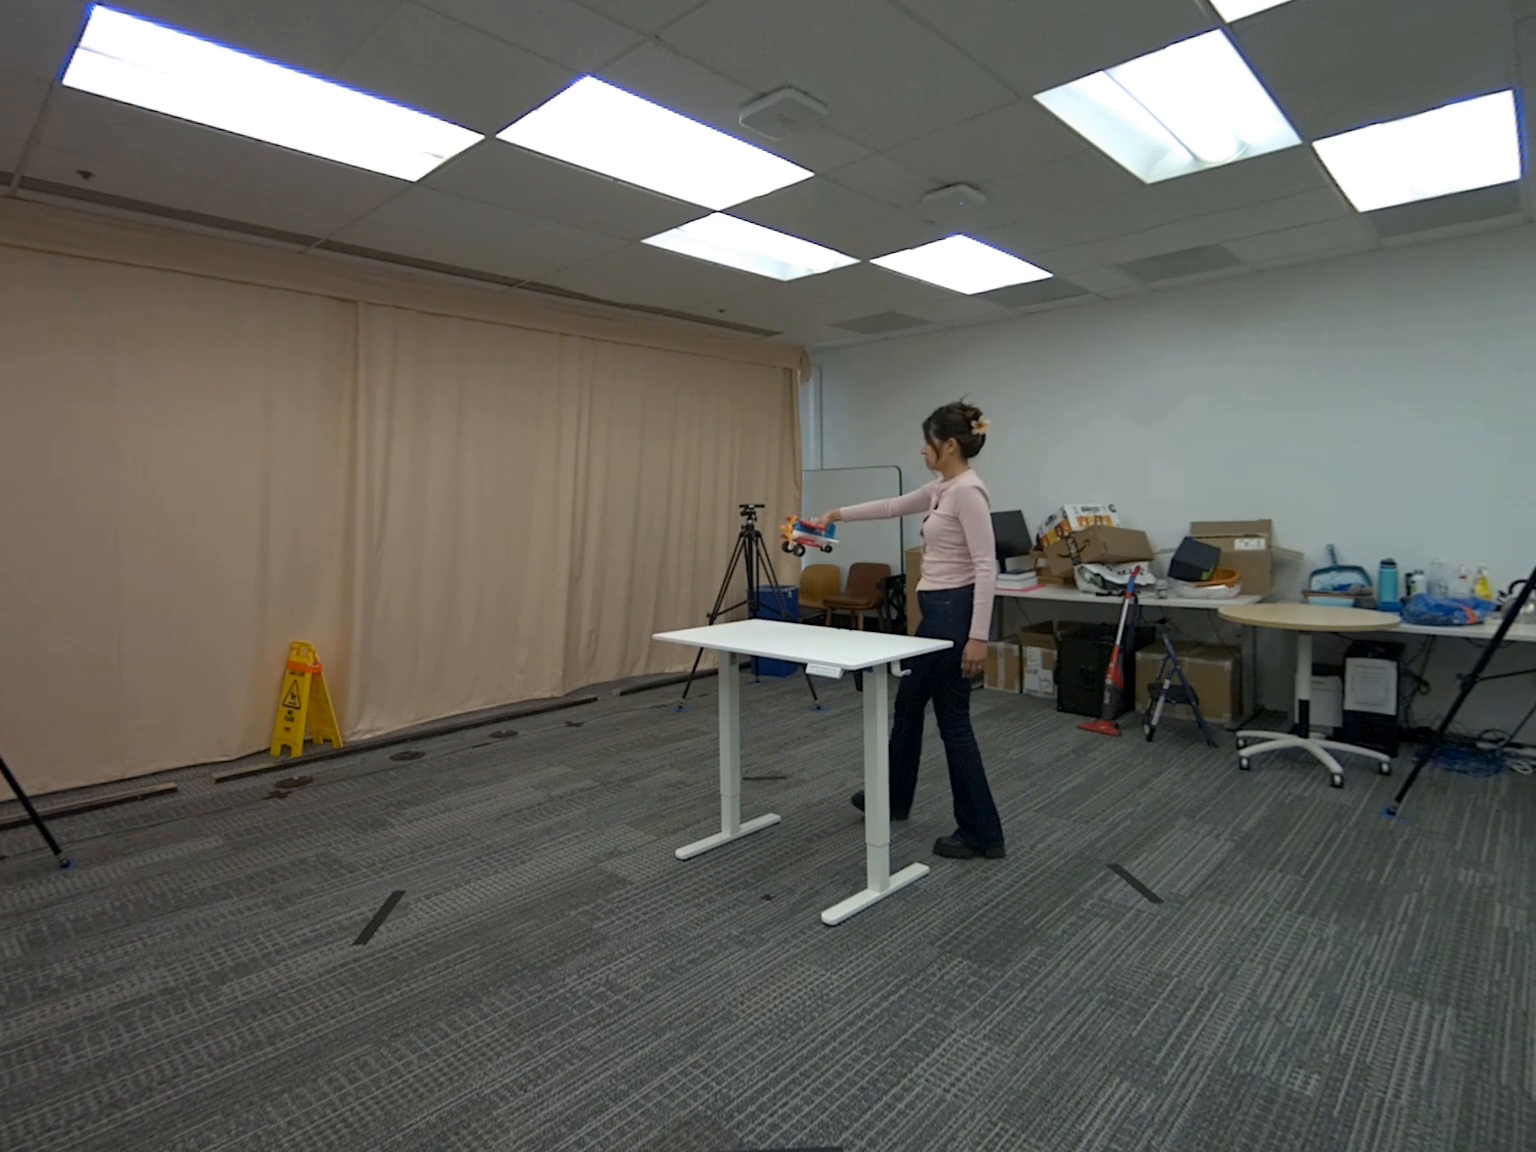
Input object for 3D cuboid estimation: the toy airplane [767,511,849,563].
[{"bbox_3d":[0.172,-0.178,3.697,0.259,0.155,0.253,10,15,32],"label":"toy airplane"}]
